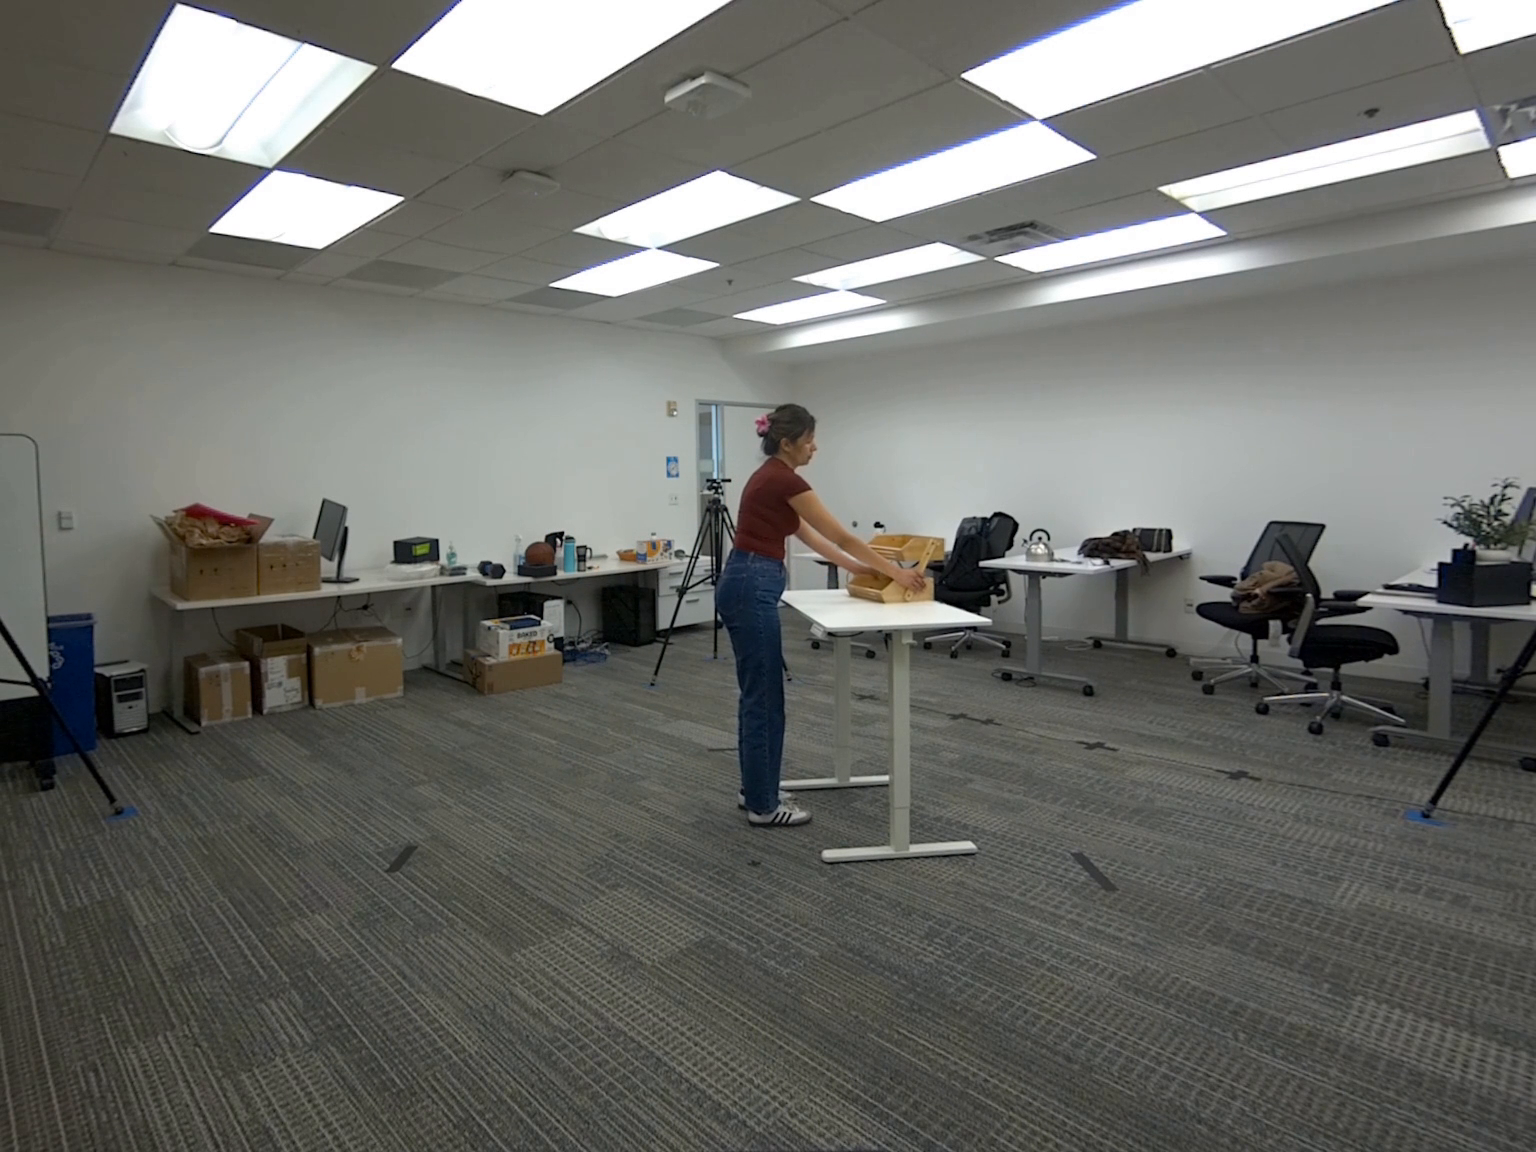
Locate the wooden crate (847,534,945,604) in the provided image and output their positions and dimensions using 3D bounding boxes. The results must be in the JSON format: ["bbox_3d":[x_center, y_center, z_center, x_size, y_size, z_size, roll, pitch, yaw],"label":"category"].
[{"bbox_3d":[0.531,-0.039,3.651,0.296,0.272,0.332,-2,6,-21],"label":"wooden crate"}]
